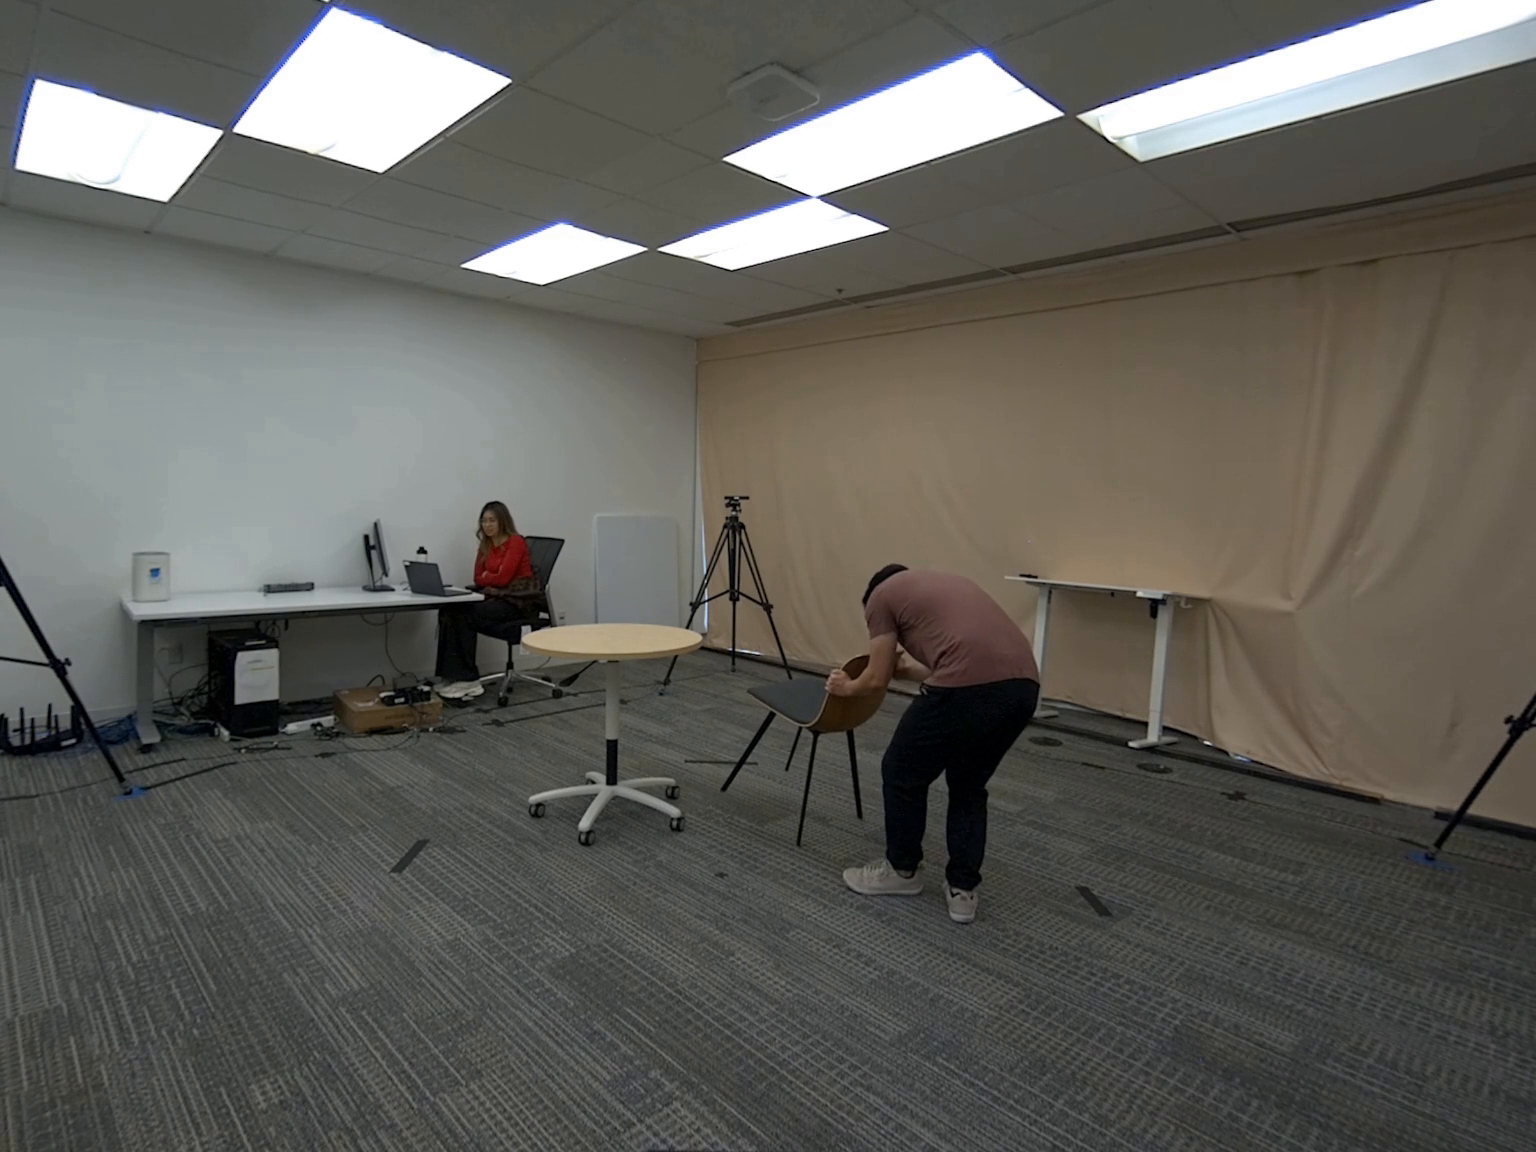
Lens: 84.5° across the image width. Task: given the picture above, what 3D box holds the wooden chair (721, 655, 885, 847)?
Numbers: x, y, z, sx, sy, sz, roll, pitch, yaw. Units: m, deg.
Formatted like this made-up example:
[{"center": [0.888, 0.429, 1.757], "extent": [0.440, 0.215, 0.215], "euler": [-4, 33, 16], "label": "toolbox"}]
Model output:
[{"center": [0.180, 0.595, 3.592], "extent": [0.539, 0.871, 0.467], "euler": [29, 20, 38], "label": "wooden chair"}]
